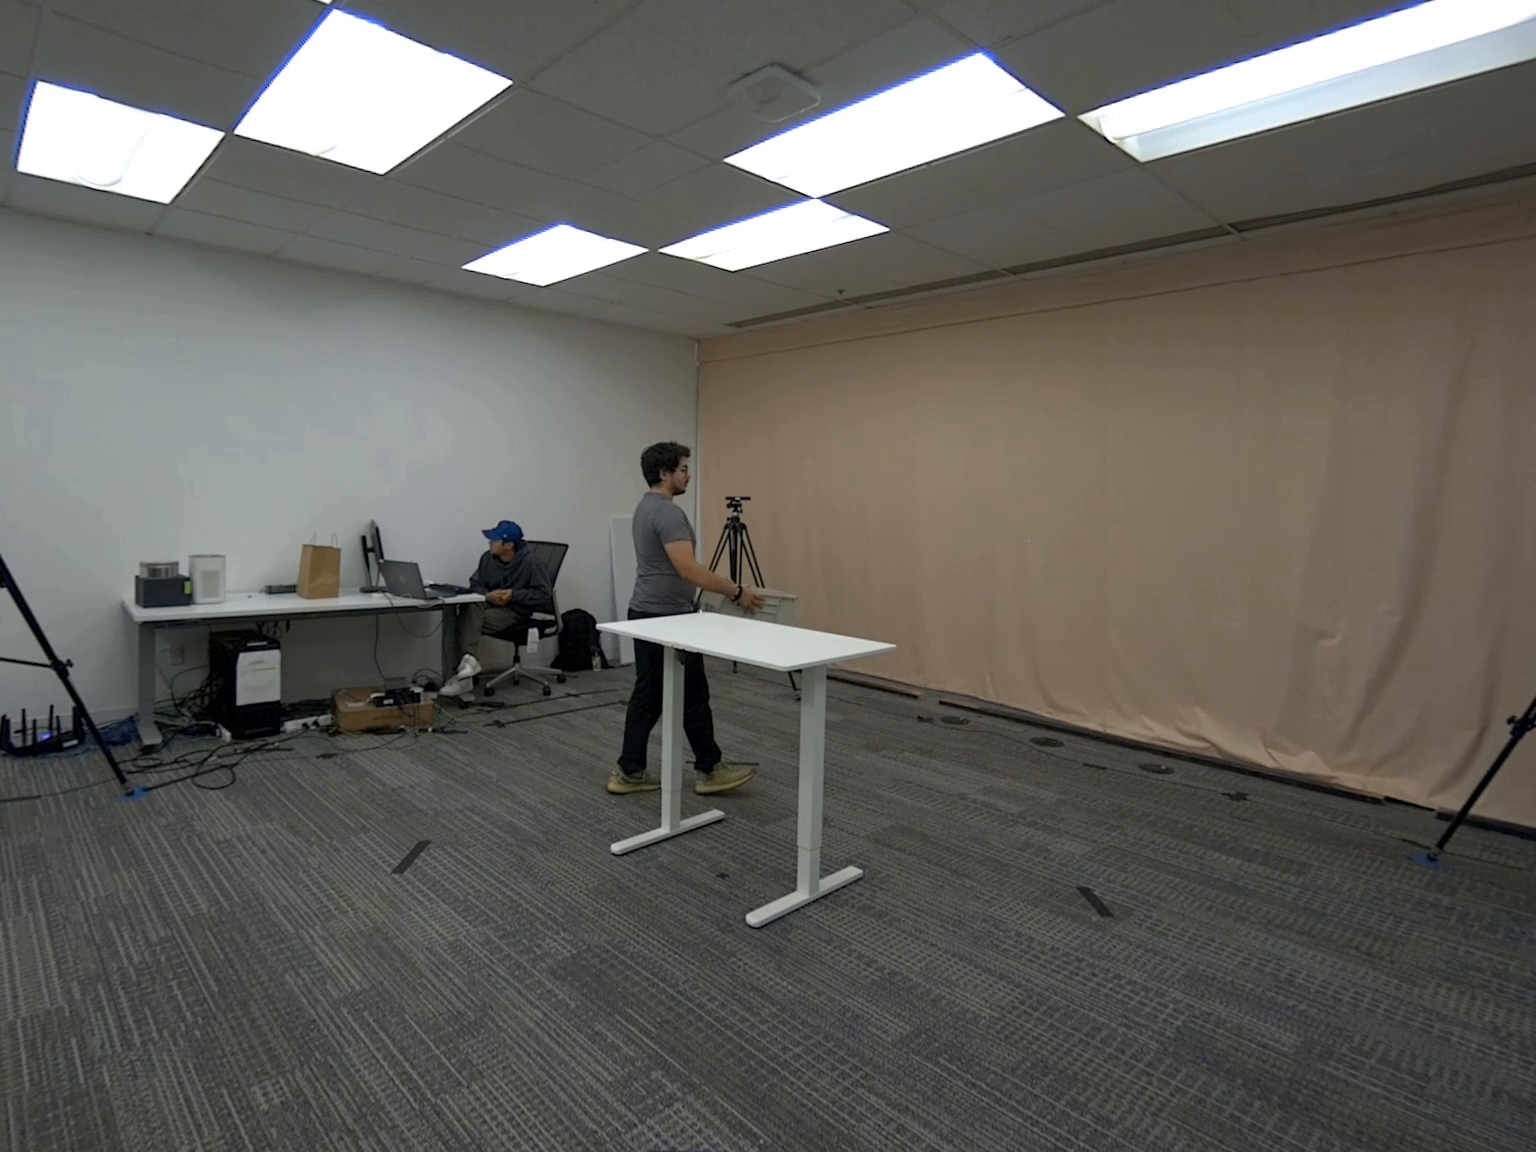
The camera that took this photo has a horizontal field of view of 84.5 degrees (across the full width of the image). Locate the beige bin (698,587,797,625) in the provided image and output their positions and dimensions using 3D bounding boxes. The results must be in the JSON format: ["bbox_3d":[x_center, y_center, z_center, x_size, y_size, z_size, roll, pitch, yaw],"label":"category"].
[{"bbox_3d":[-0.110,0.139,4.089,0.372,0.189,0.427,10,-1,-15],"label":"beige bin"}]
